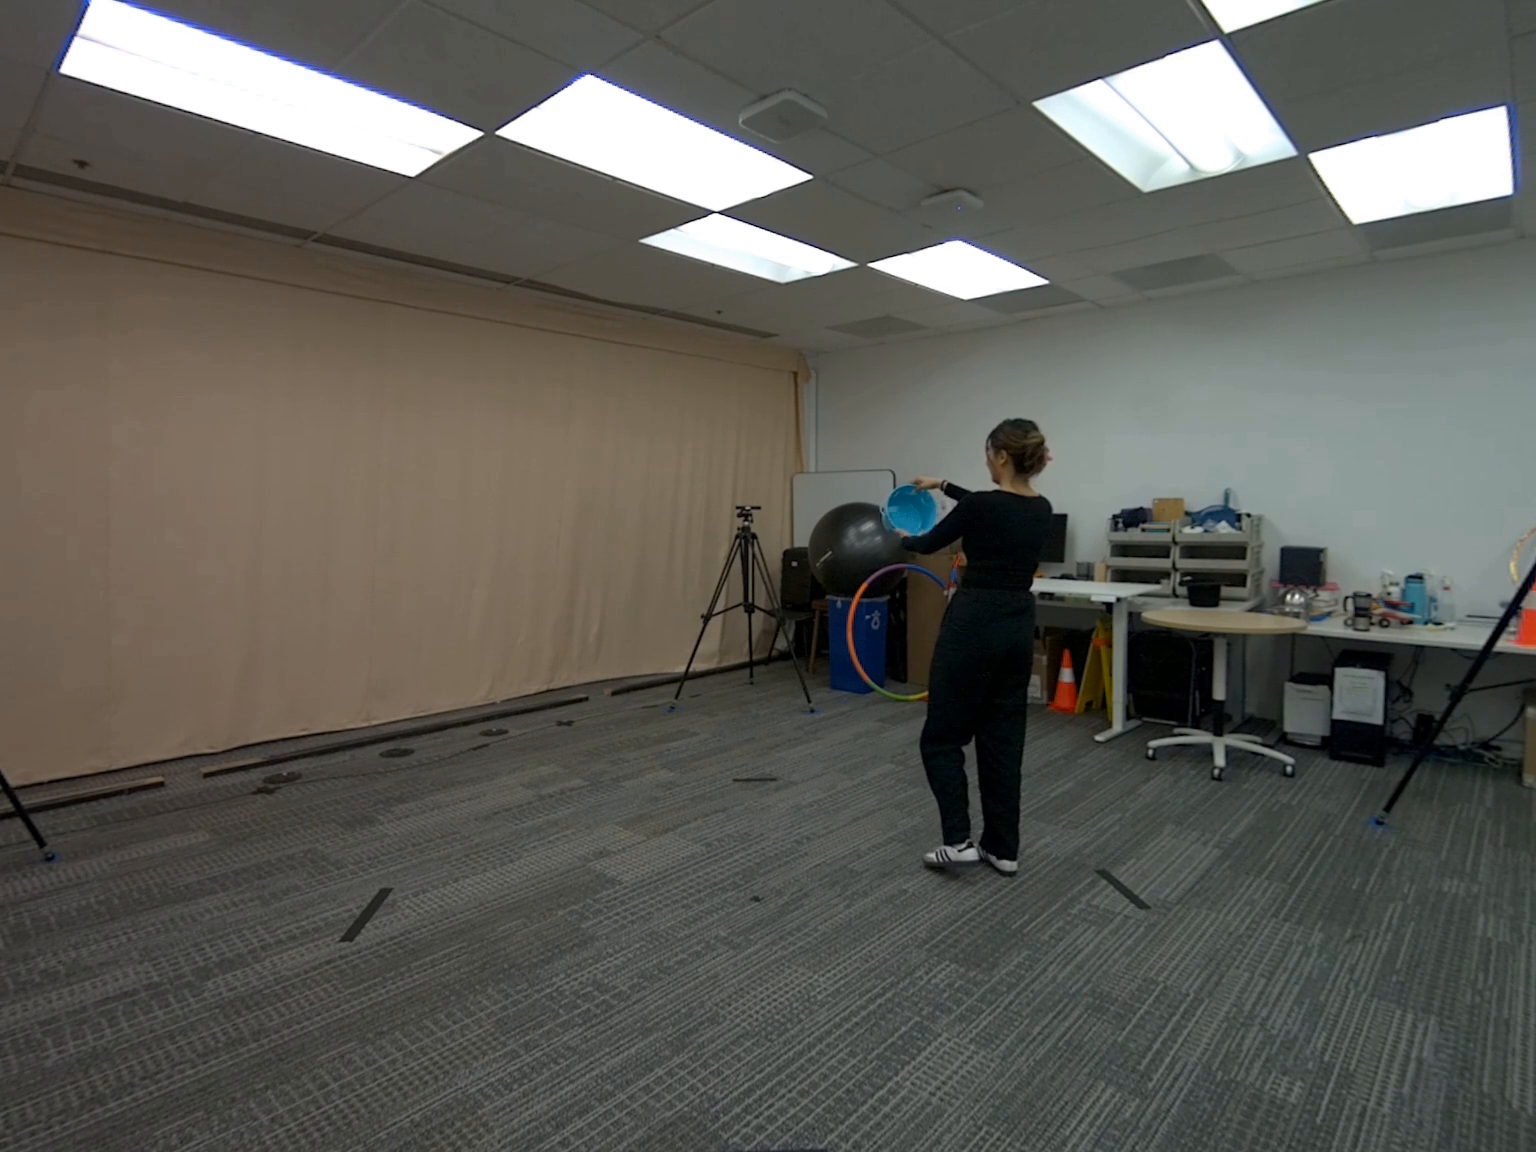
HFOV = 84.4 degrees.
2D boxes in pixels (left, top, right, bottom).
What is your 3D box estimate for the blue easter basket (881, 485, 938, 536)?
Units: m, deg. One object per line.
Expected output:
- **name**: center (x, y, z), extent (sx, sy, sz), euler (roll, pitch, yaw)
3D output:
- **blue easter basket**: center (0.626, -0.272, 3.747), extent (0.242, 0.246, 0.156), euler (-1, -13, -8)
